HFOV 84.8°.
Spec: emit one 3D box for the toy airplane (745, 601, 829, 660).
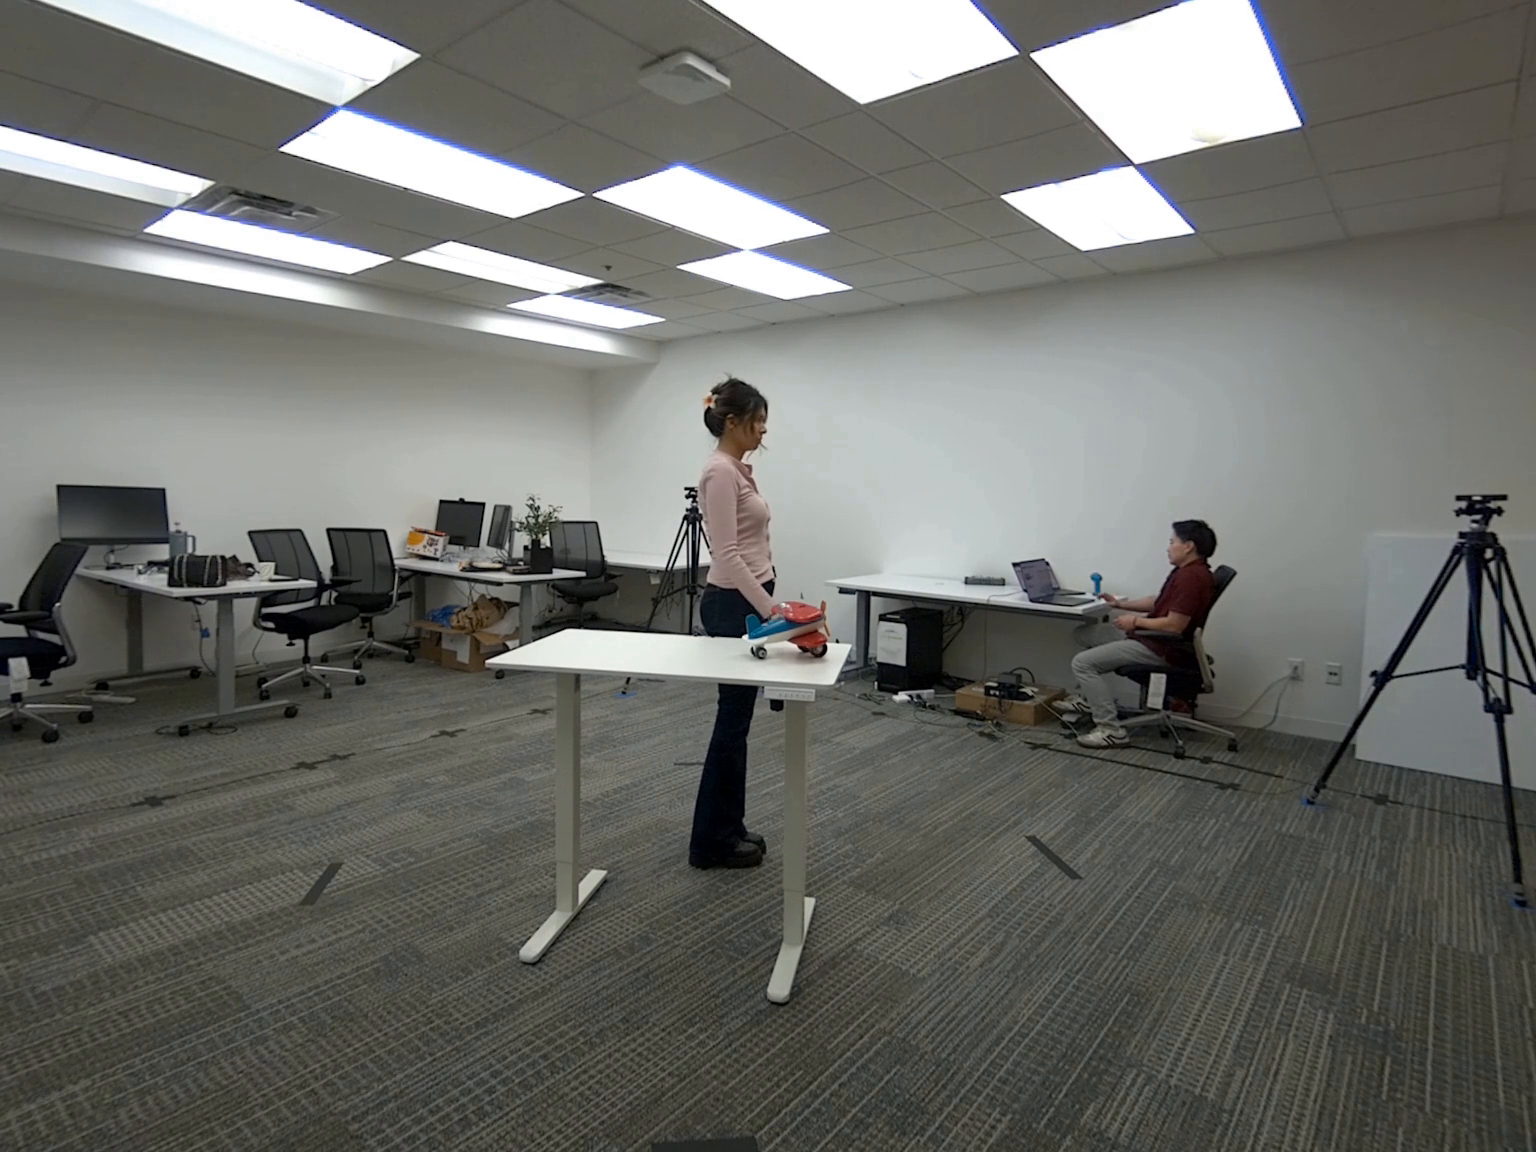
[{"bbox_3d":[0.058,0.164,2.570,0.260,0.156,0.251,6,6,43],"label":"toy airplane"}]
